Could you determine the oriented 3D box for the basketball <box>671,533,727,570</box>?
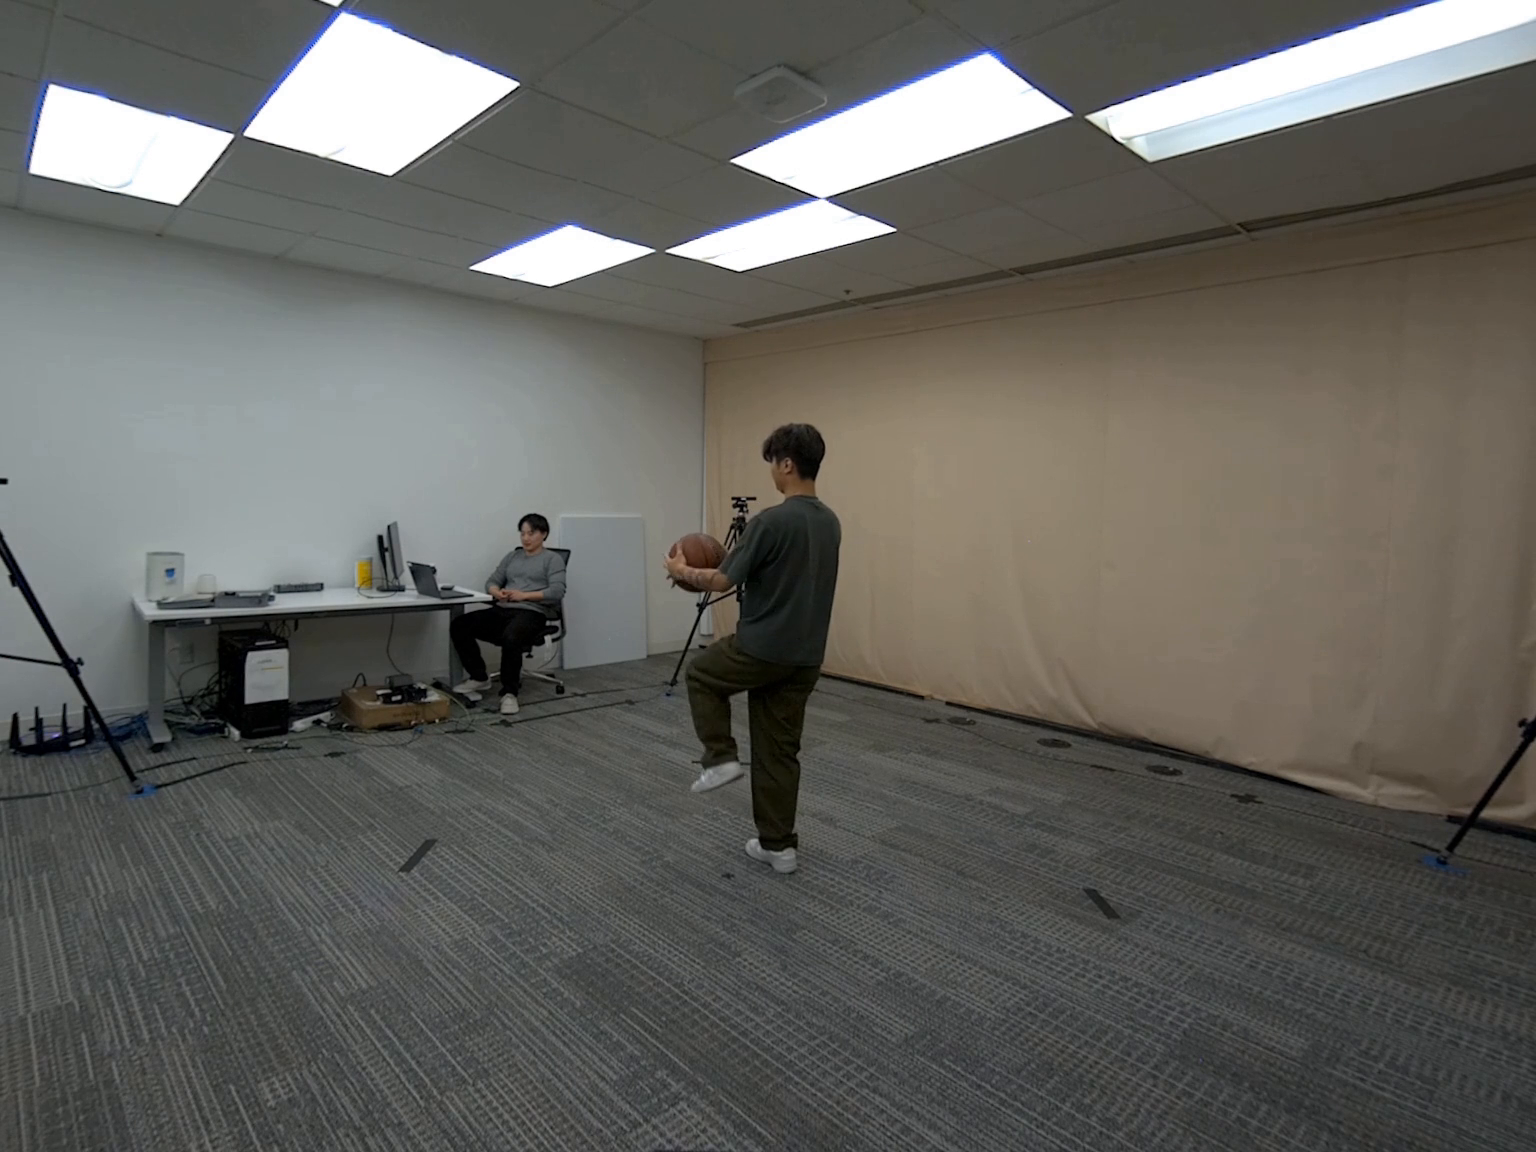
[{"bbox_3d":[-0.294,-0.055,3.366,0.236,0.235,0.237,1,4,-1],"label":"basketball"}]
